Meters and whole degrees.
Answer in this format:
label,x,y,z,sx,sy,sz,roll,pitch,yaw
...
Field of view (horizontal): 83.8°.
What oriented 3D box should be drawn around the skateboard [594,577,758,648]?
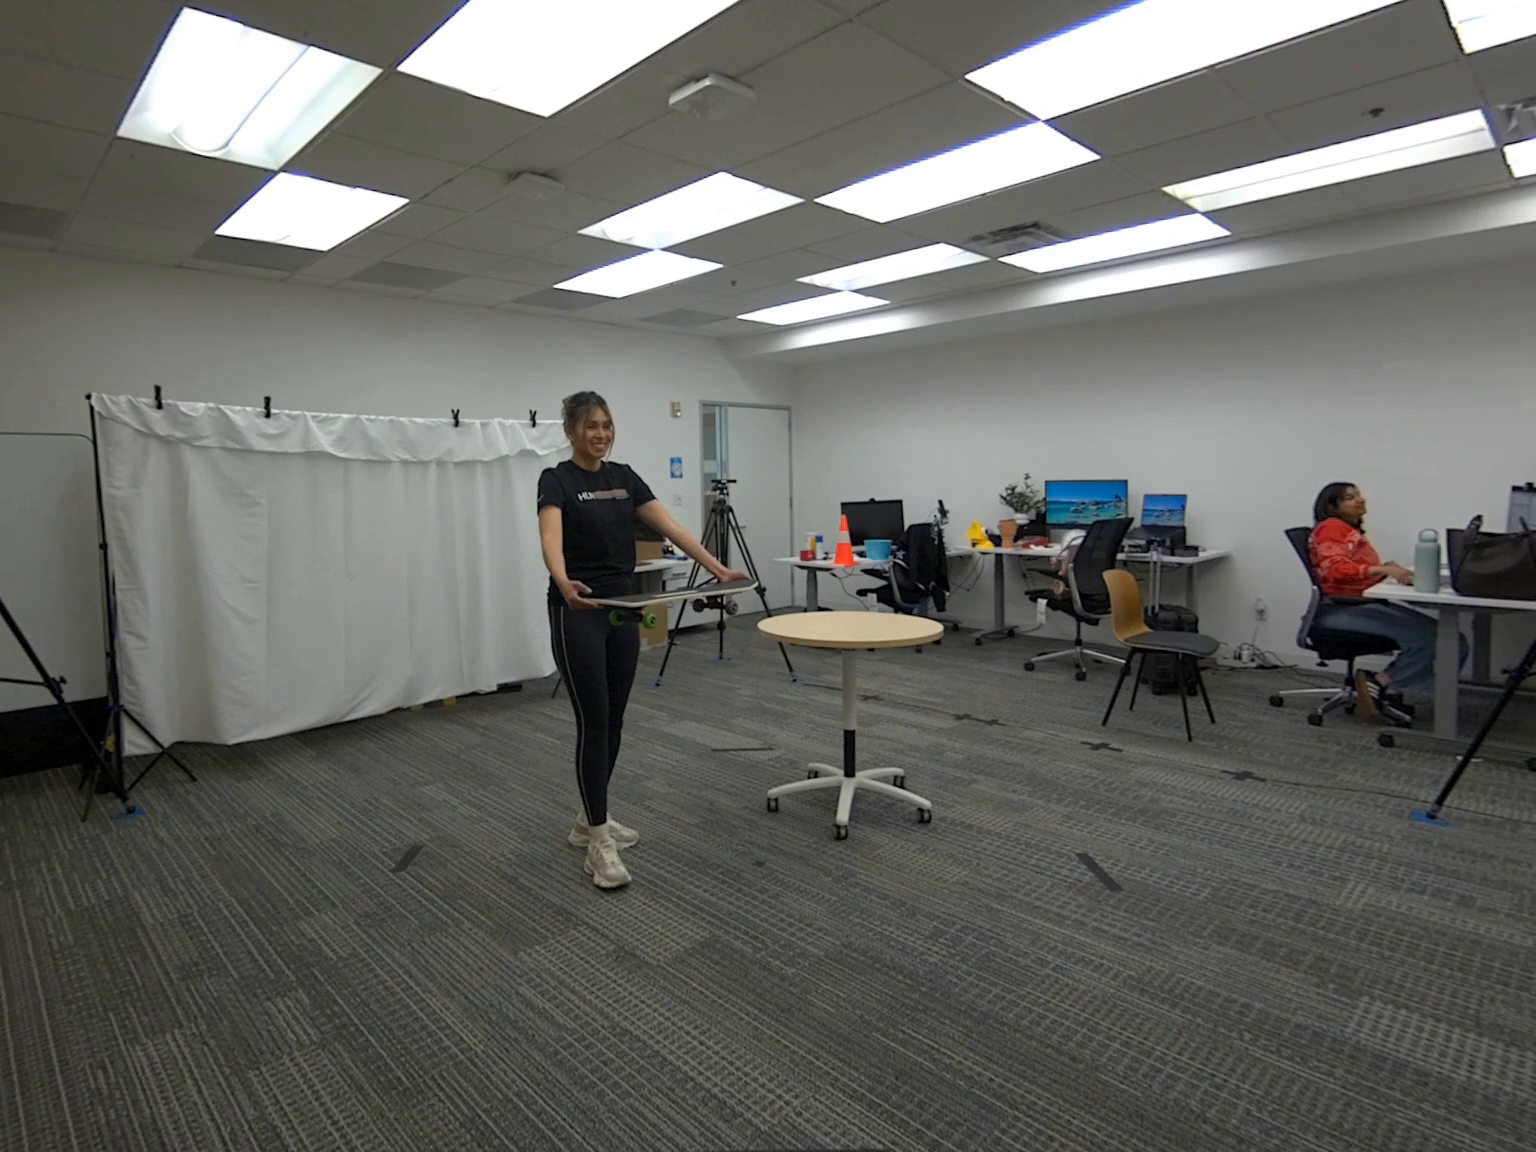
label,x,y,z,sx,sy,sz,roll,pitch,yaw
skateboard,-0.312,0.099,2.872,0.199,0.110,0.765,1,5,40
